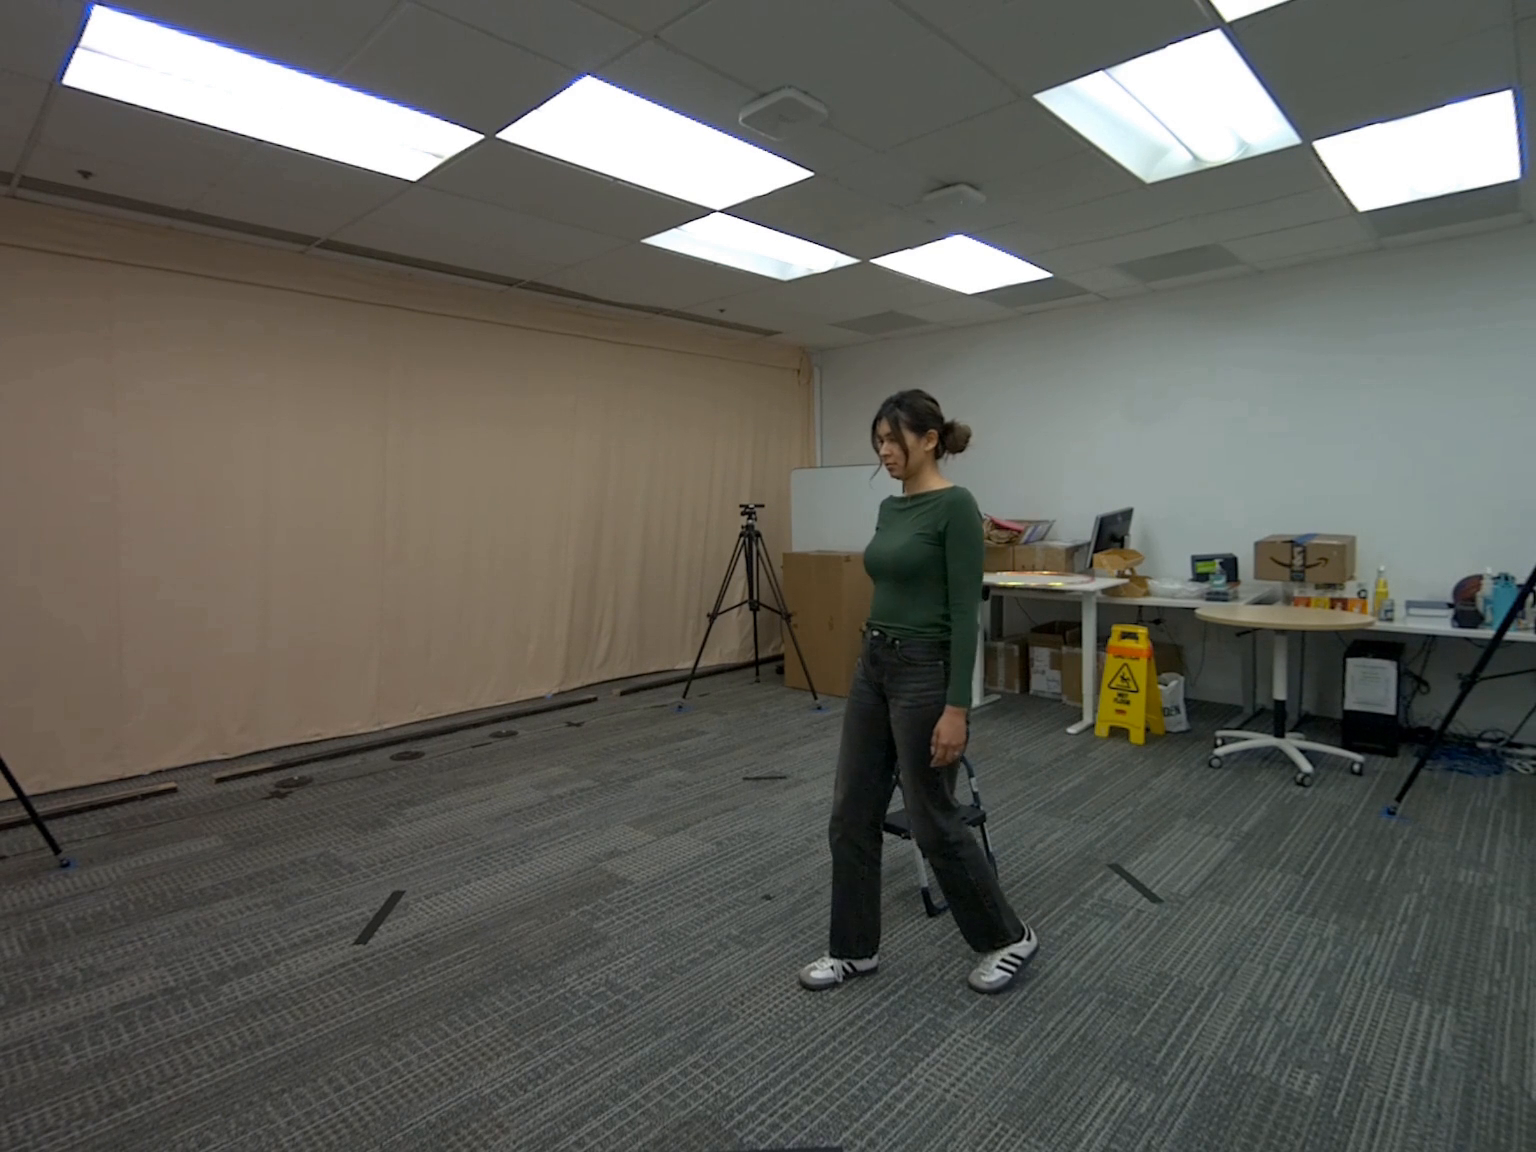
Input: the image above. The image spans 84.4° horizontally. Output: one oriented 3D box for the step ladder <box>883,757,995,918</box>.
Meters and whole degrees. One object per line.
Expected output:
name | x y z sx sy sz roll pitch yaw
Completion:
step ladder | 0.577 0.819 3.054 0.417 0.605 0.361 -4 5 -43
